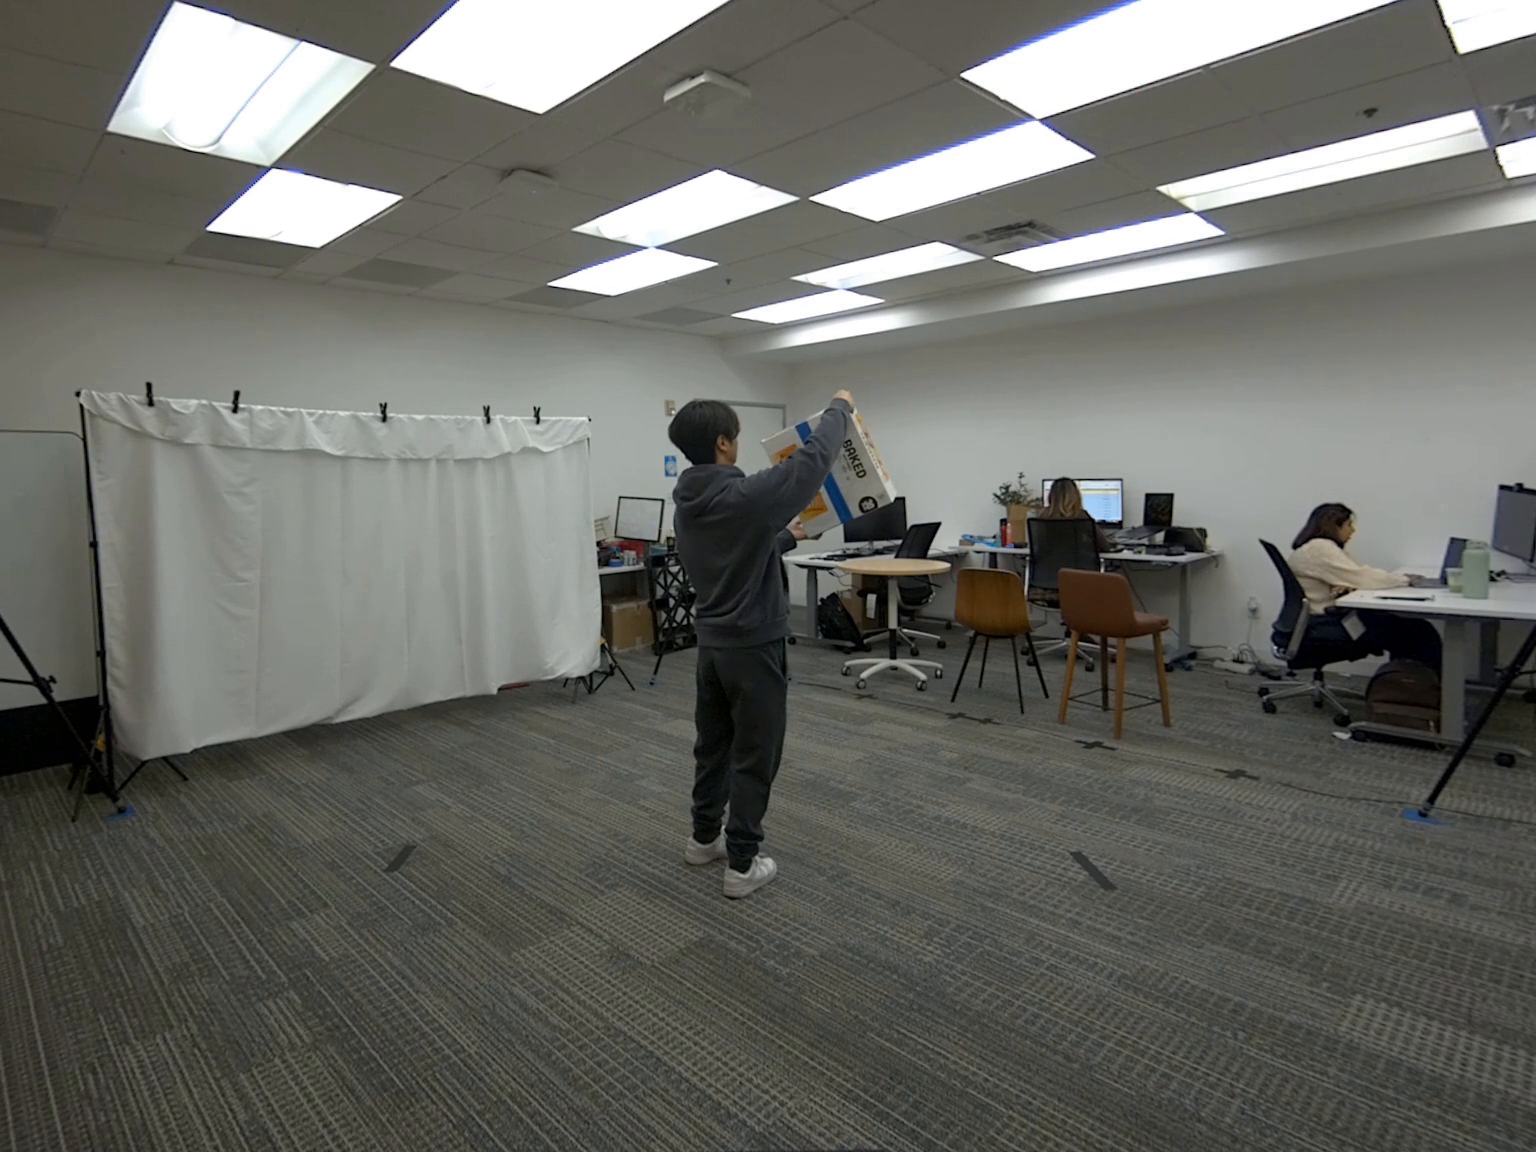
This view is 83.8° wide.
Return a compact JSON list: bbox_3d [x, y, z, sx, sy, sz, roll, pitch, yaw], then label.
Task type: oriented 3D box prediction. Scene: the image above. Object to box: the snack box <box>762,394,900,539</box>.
[{"bbox_3d":[0.238,-0.411,3.200,0.344,0.402,0.205,-23,7,20],"label":"snack box"}]
